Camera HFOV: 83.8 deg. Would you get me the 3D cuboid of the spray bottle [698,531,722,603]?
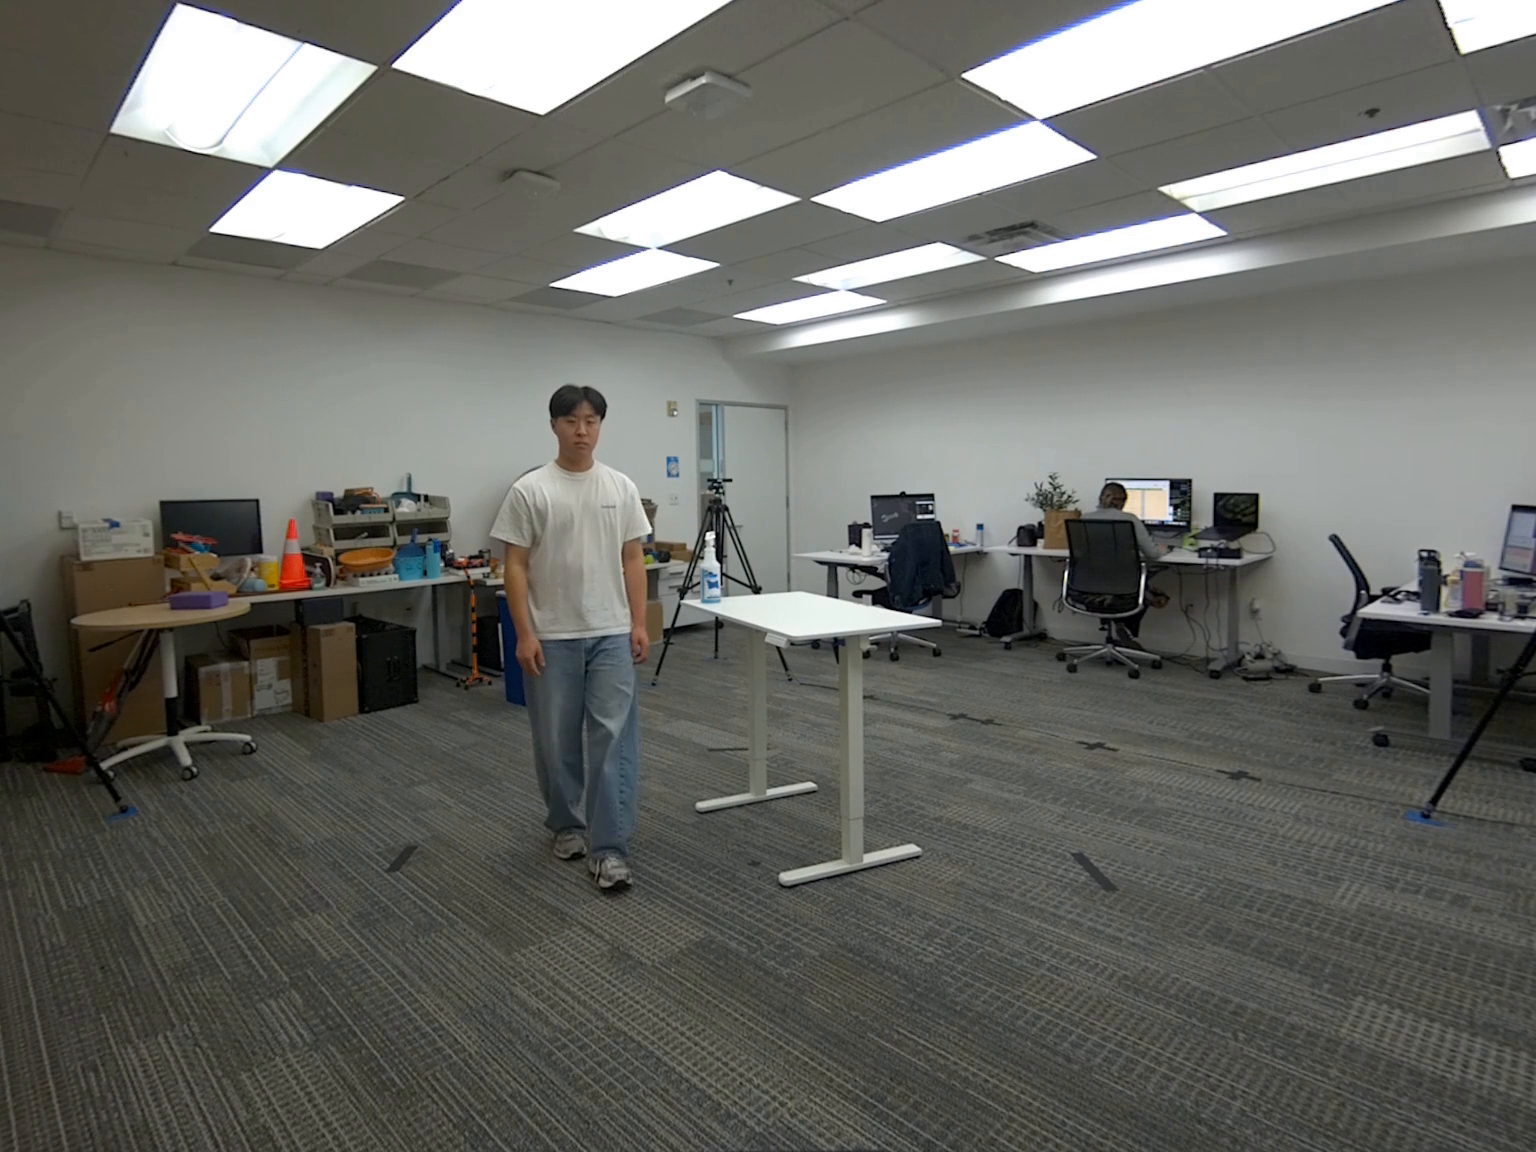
[{"bbox_3d":[-0.241,-0.035,3.607,0.089,0.297,0.087,2,2,41],"label":"spray bottle"}]
